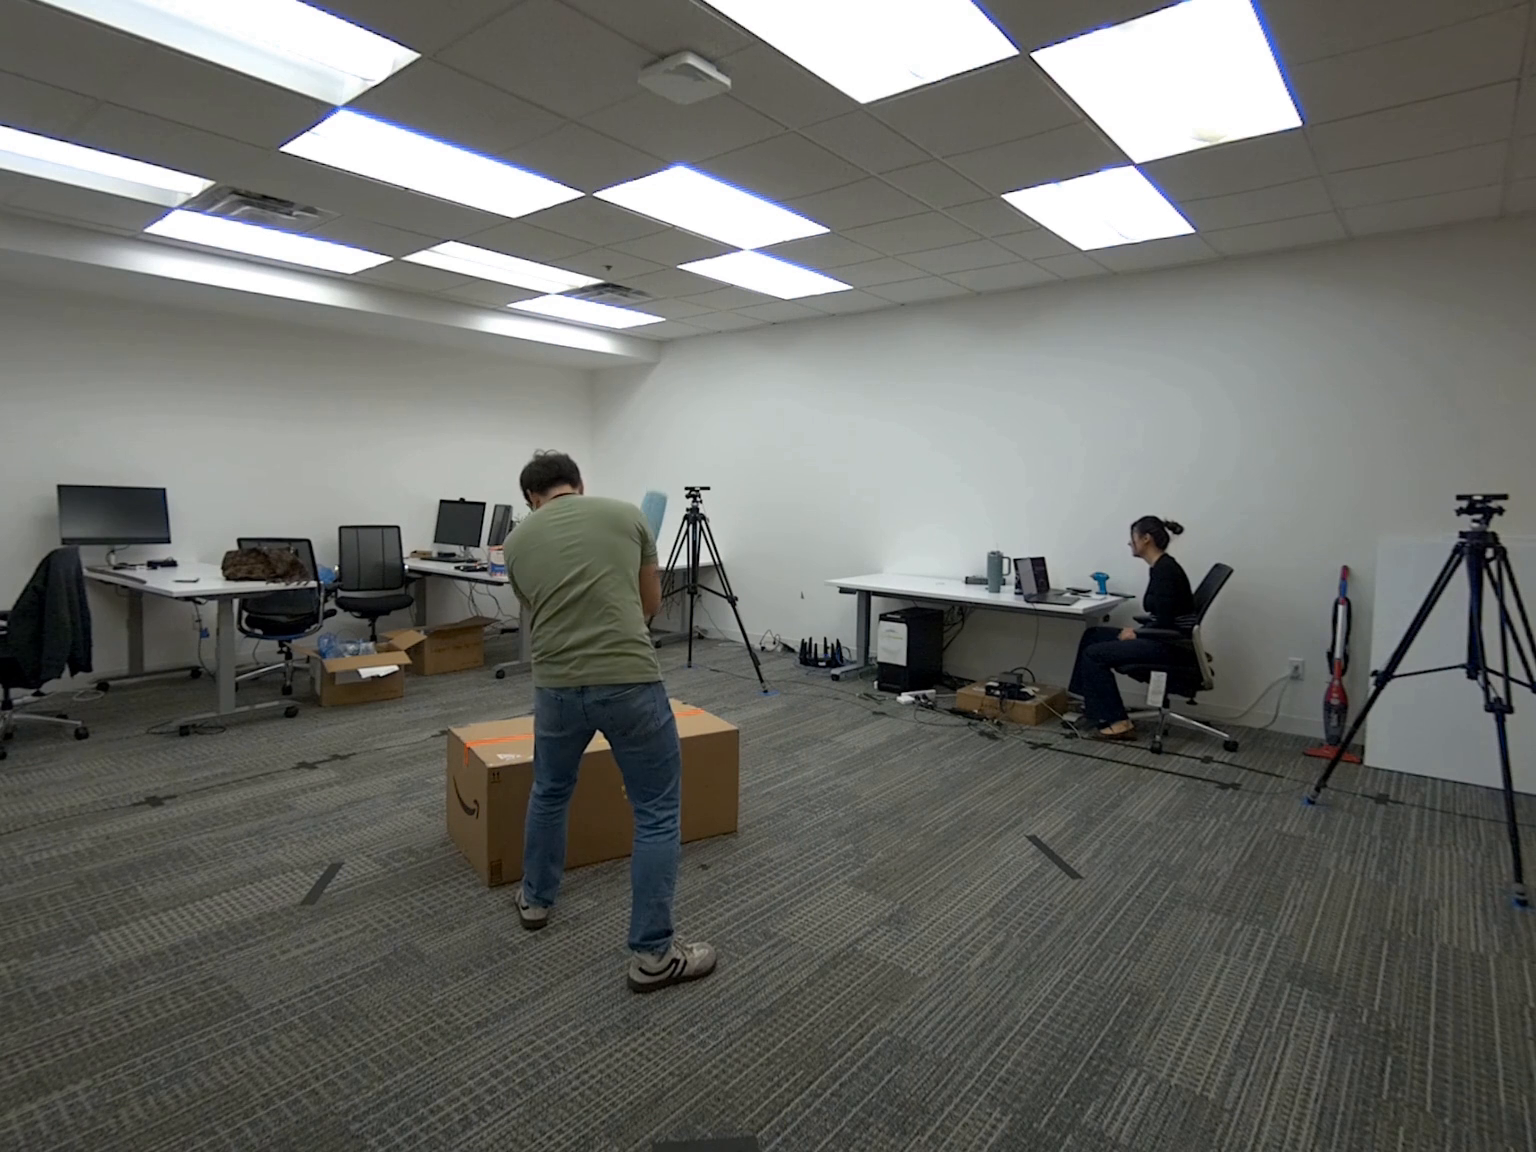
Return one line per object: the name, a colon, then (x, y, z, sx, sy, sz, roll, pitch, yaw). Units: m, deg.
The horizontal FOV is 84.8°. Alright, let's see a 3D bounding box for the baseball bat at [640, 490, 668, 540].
baseball bat: (-0.478, -0.017, 2.981, 0.089, 0.549, 0.088, 12, -16, 1)
